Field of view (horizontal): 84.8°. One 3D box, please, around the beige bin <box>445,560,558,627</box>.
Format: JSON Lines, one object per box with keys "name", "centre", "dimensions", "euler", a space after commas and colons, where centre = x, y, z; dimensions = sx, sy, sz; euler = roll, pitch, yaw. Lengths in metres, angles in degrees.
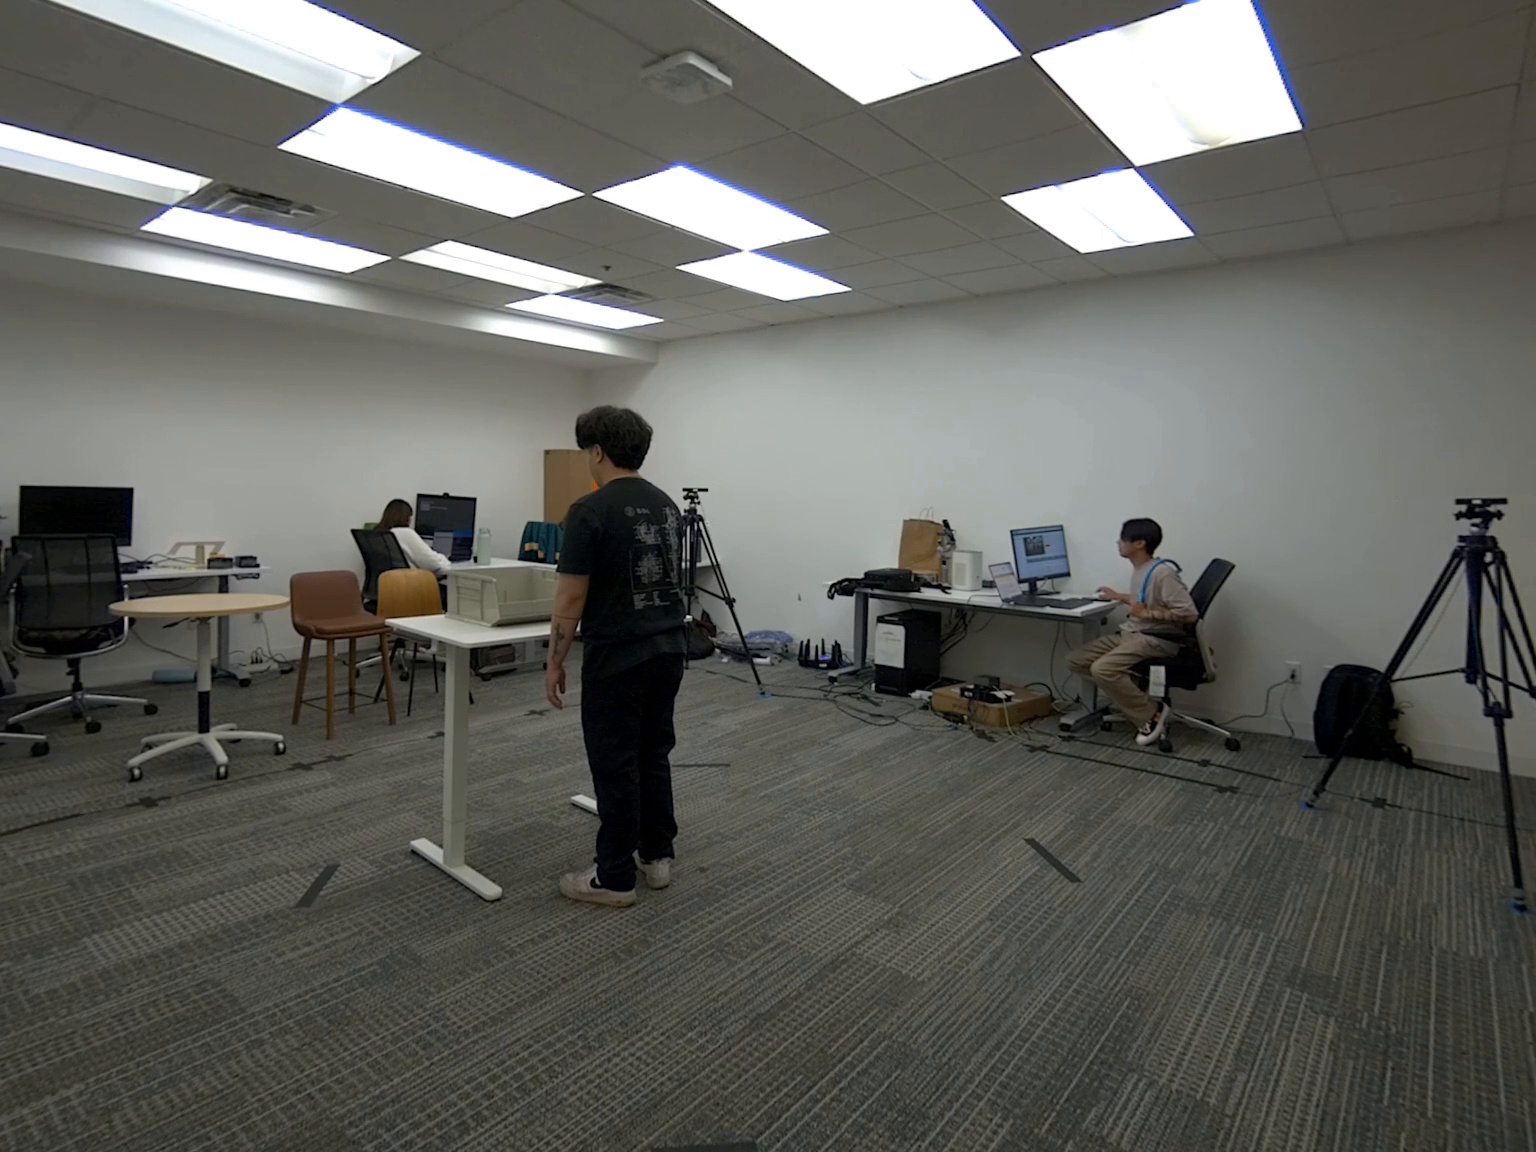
{"name": "beige bin", "centre": [-0.975, 0.072, 3.261], "dimensions": [0.390, 0.188, 0.410], "euler": [5, 6, 40]}
